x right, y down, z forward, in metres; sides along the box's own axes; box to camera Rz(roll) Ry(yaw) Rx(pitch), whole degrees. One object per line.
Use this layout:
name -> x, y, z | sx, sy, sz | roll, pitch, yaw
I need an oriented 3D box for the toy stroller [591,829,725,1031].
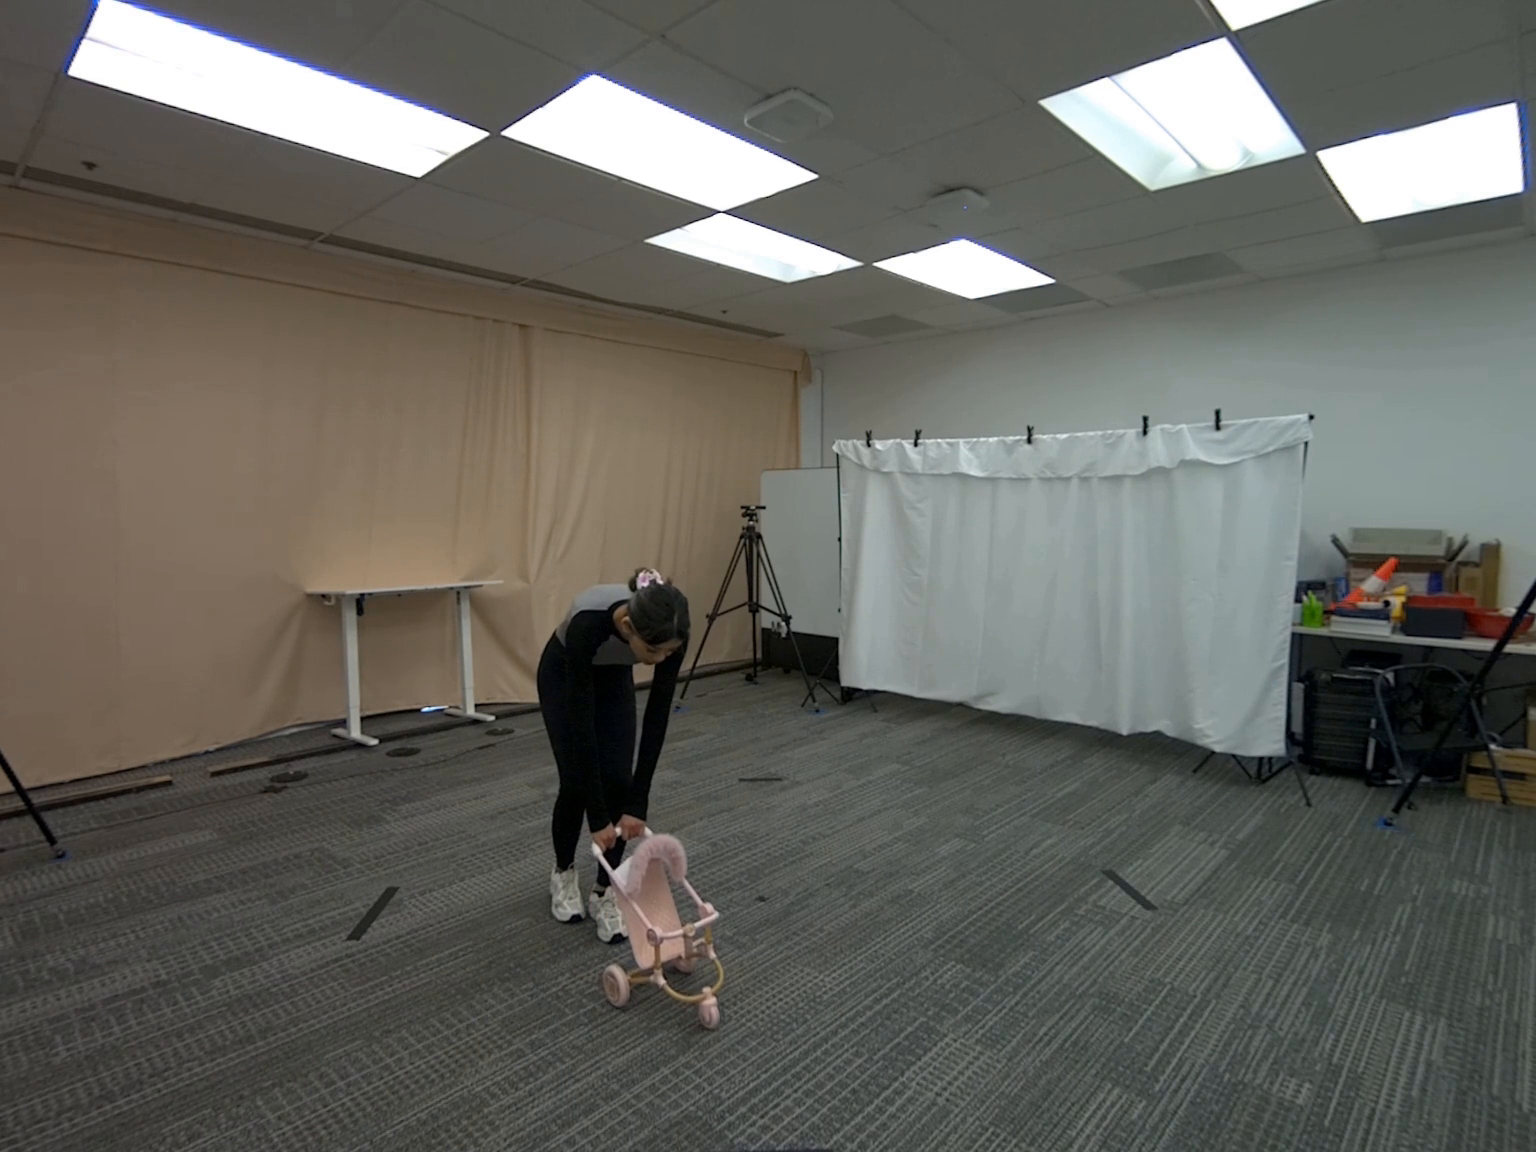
toy stroller -> -0.295, 0.973, 2.379 | 0.273, 0.539, 0.349 | -4, -12, -40
